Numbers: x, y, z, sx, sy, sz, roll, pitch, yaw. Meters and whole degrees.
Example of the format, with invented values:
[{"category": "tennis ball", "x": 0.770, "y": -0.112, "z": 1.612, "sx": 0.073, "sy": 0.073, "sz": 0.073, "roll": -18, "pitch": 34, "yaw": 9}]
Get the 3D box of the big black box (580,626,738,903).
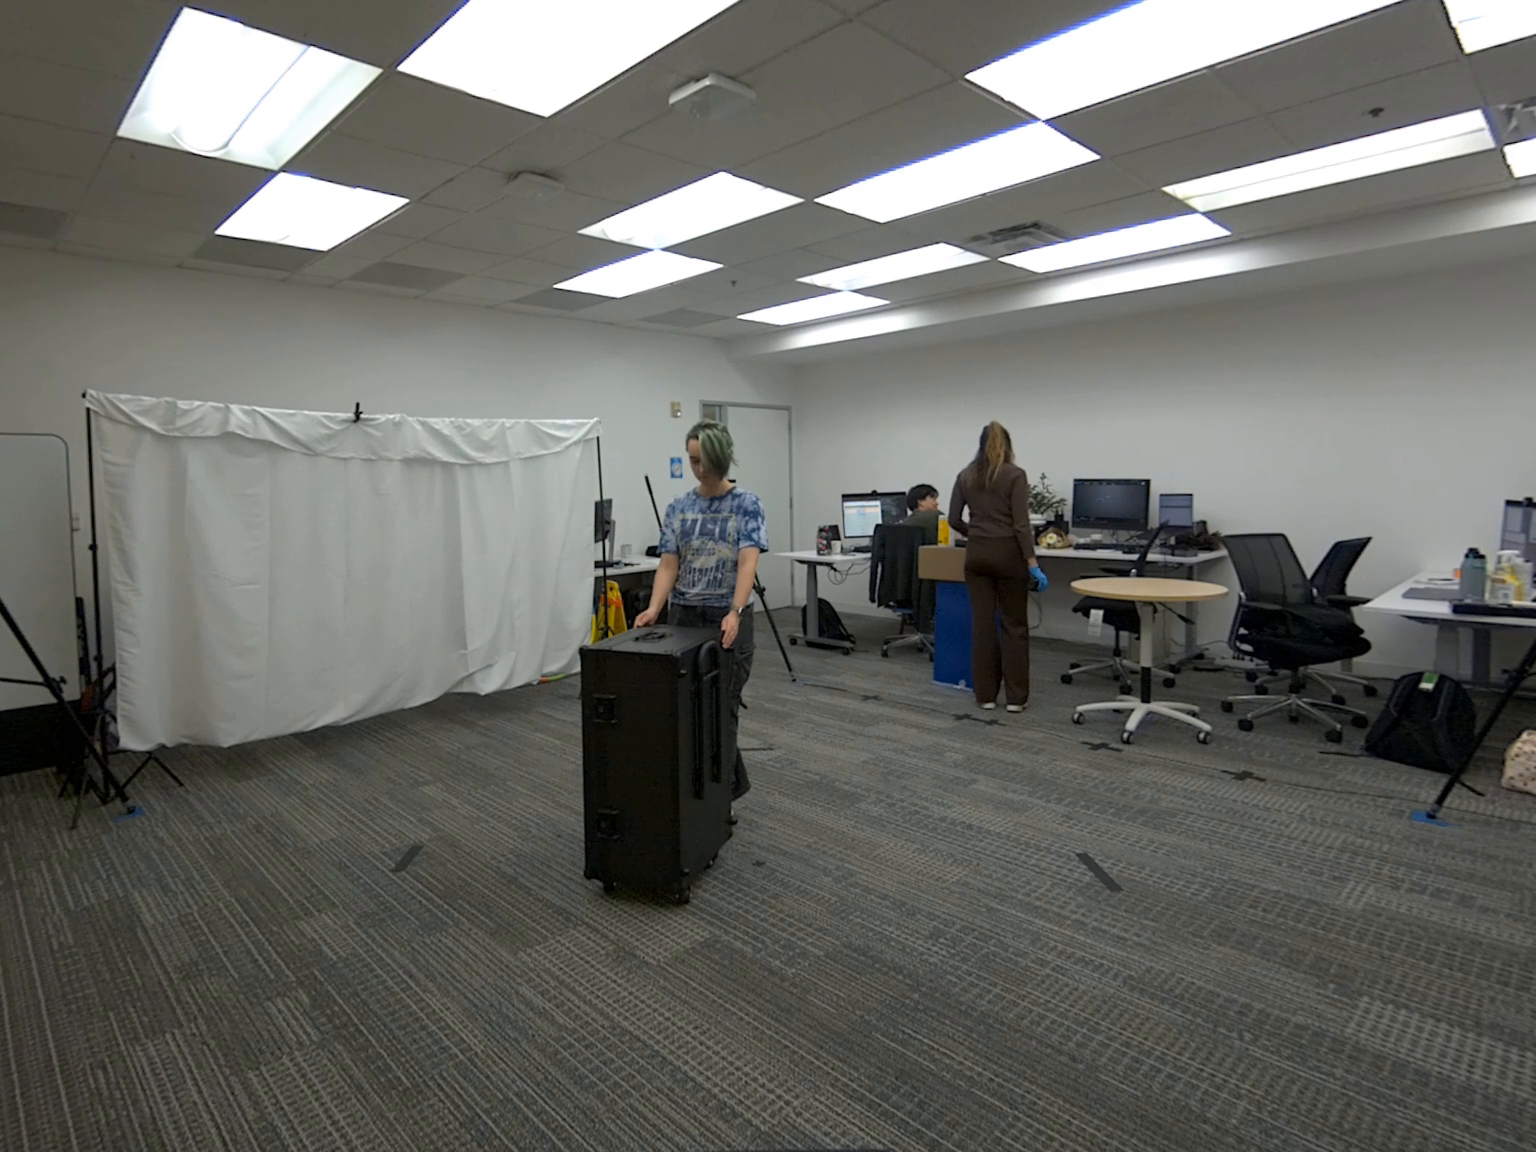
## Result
[{"category": "big black box", "x": -0.370, "y": 0.645, "z": 3.006, "sx": 0.404, "sy": 0.858, "sz": 0.513, "roll": 1, "pitch": 4, "yaw": 19}]
